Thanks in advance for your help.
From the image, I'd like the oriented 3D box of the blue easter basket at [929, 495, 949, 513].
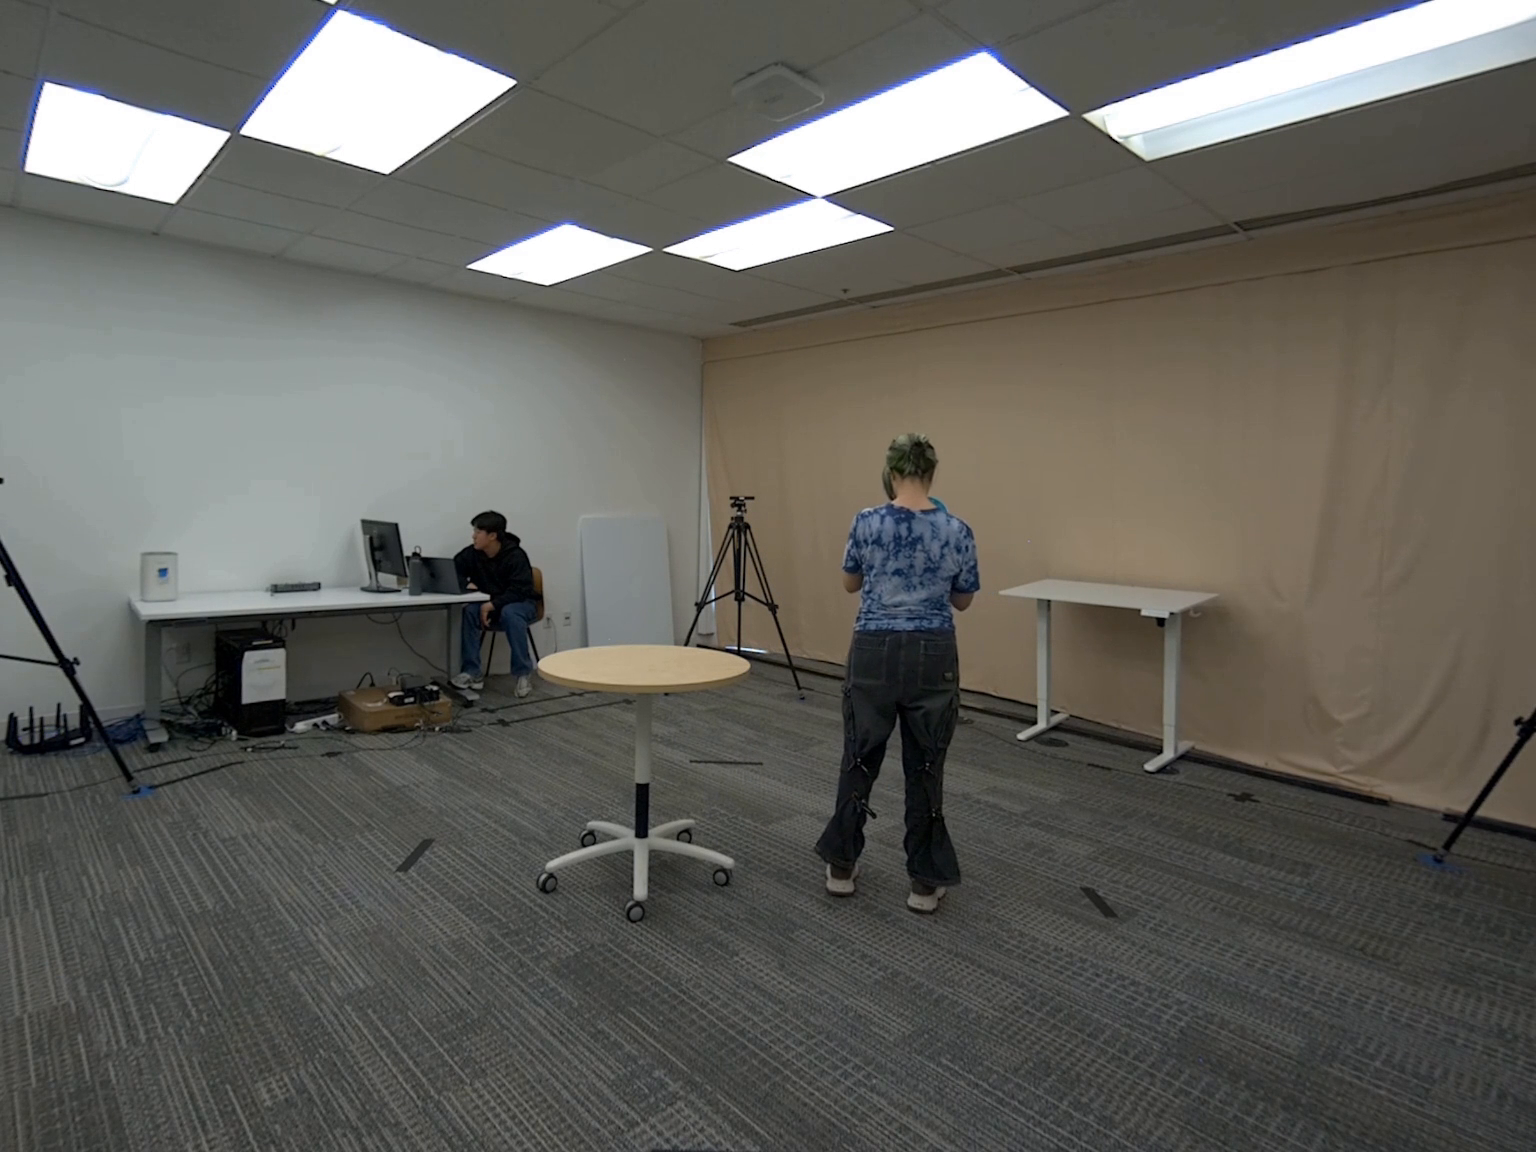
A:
[{"bbox_3d":[0.579,-0.175,3.228,0.246,0.247,0.151,2,-34,15],"label":"blue easter basket"}]
